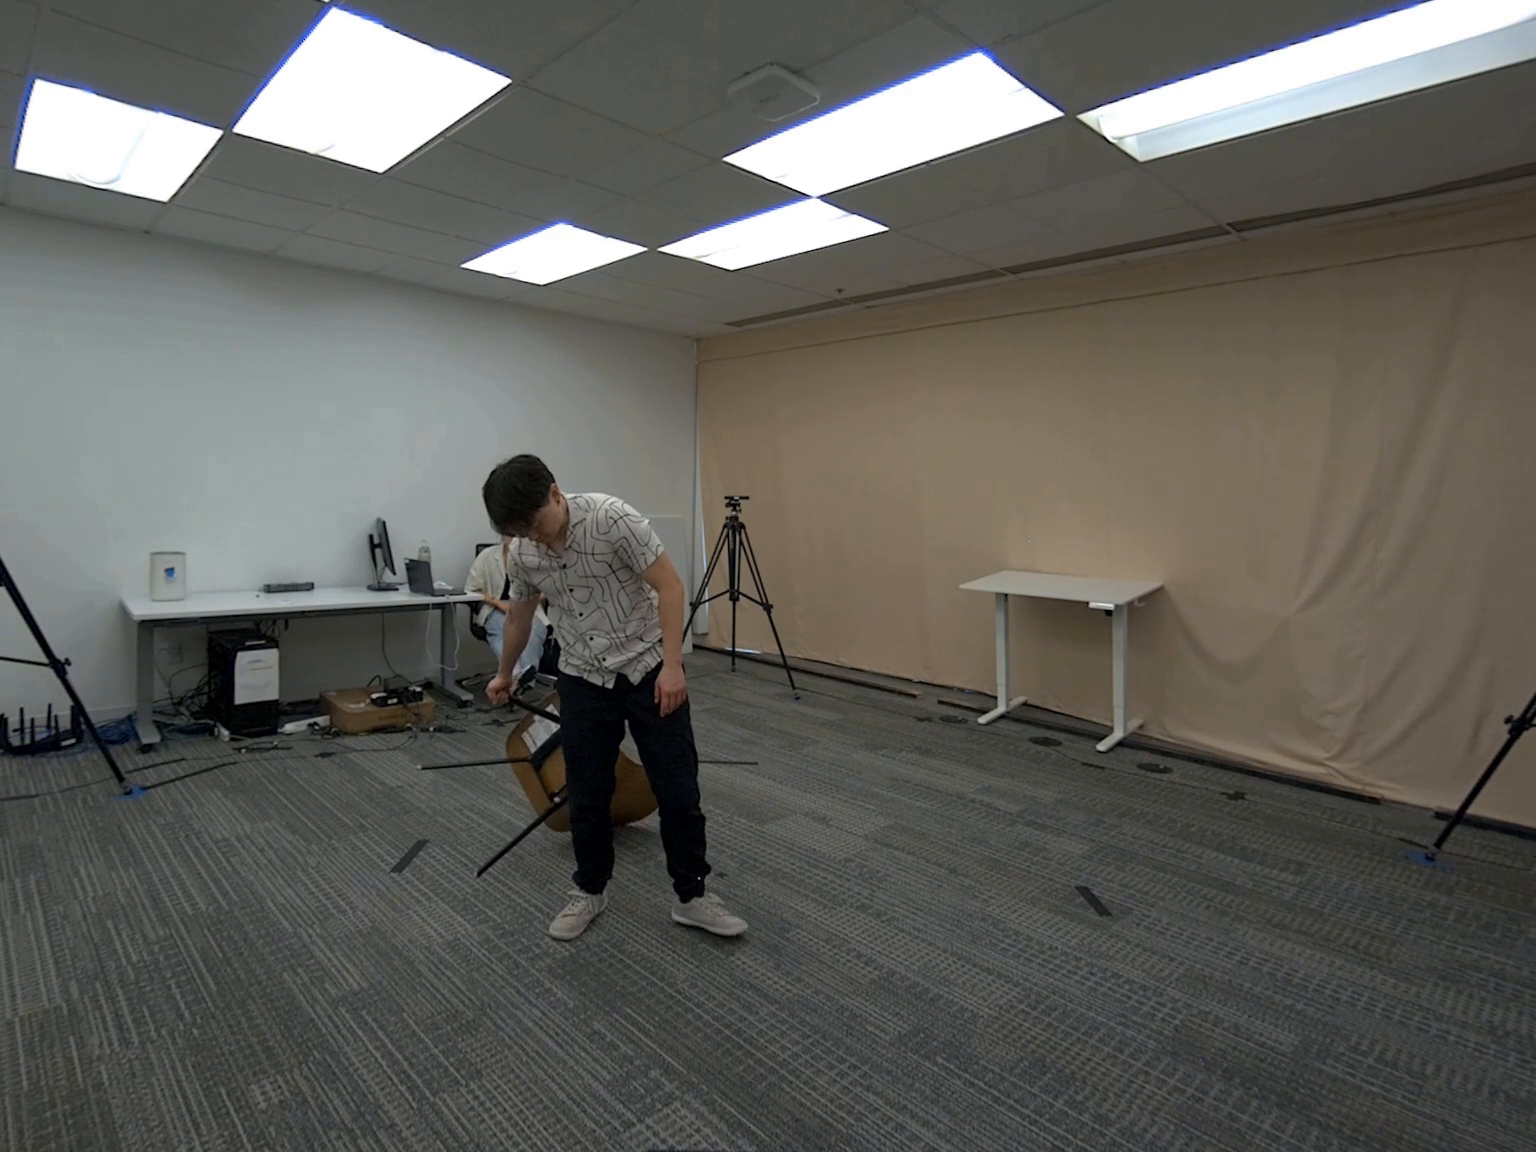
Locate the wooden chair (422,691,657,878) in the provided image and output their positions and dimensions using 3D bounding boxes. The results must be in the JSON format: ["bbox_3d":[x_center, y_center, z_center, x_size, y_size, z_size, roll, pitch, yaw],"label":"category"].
[{"bbox_3d":[-0.805,0.737,3.256,0.536,0.478,0.855,53,17,24],"label":"wooden chair"}]
